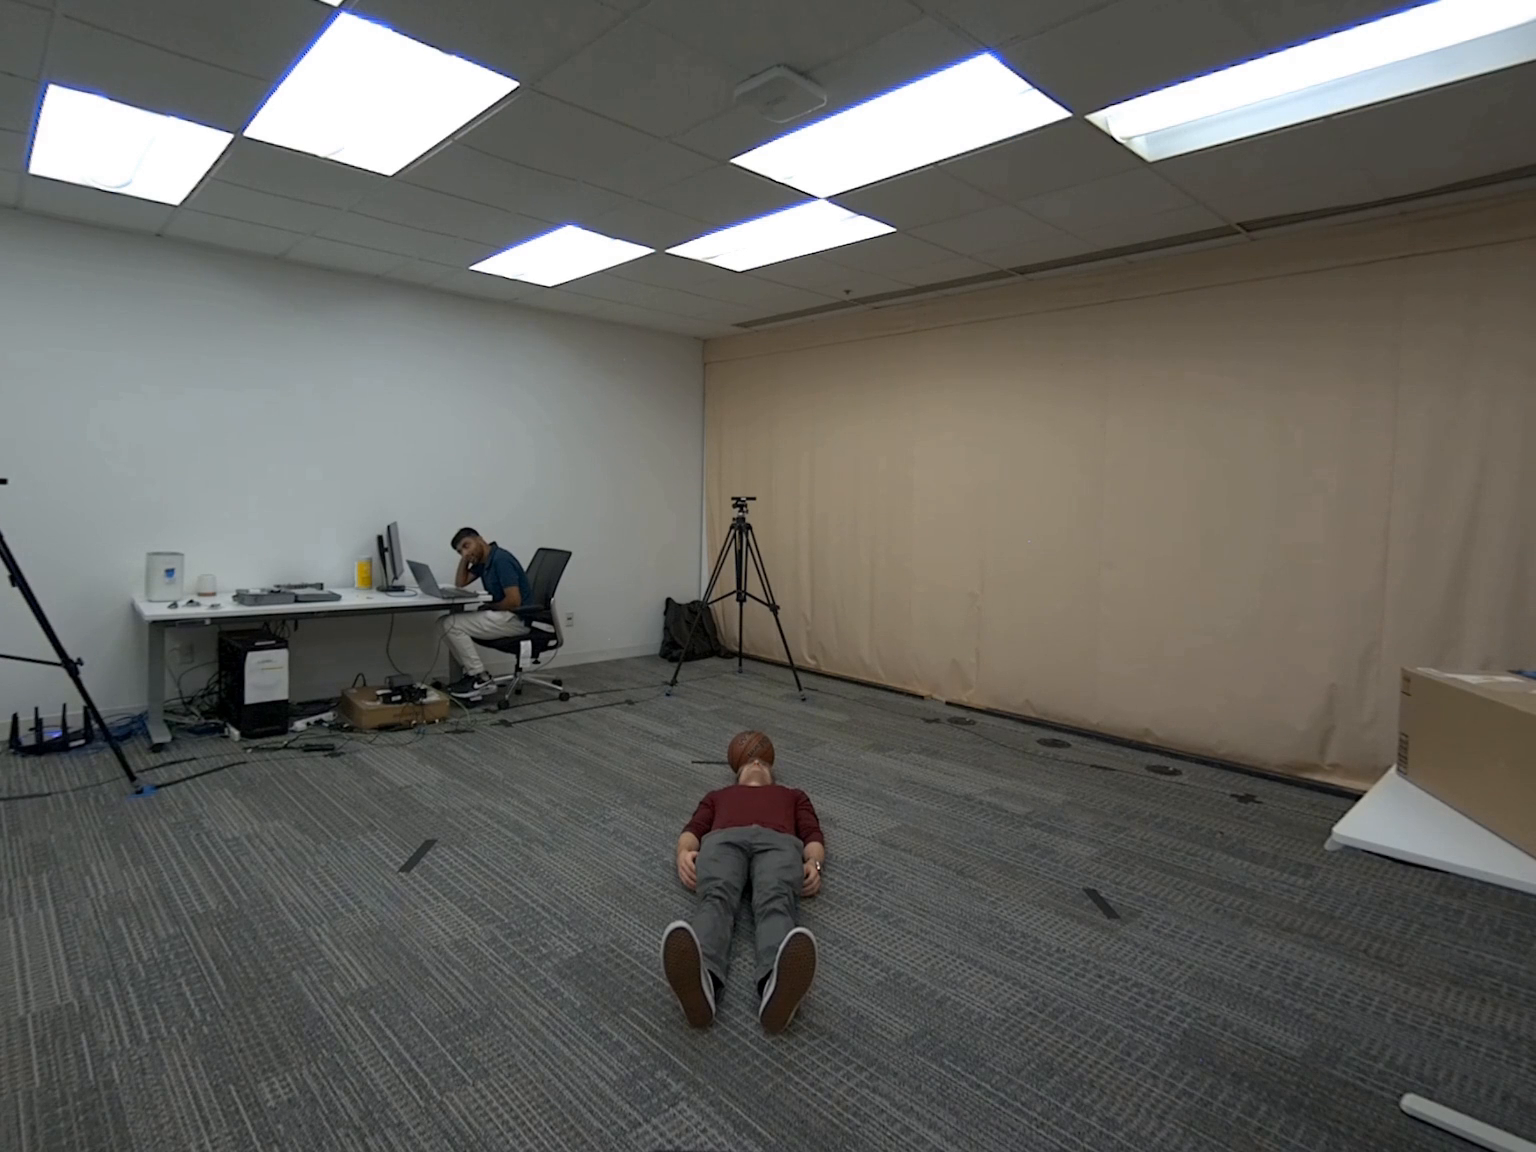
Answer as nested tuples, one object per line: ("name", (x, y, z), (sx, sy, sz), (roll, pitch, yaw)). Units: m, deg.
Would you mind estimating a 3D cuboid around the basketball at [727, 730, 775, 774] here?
("basketball", (-0.100, 0.893, 4.218), (0.236, 0.235, 0.237), (1, 4, -1))
